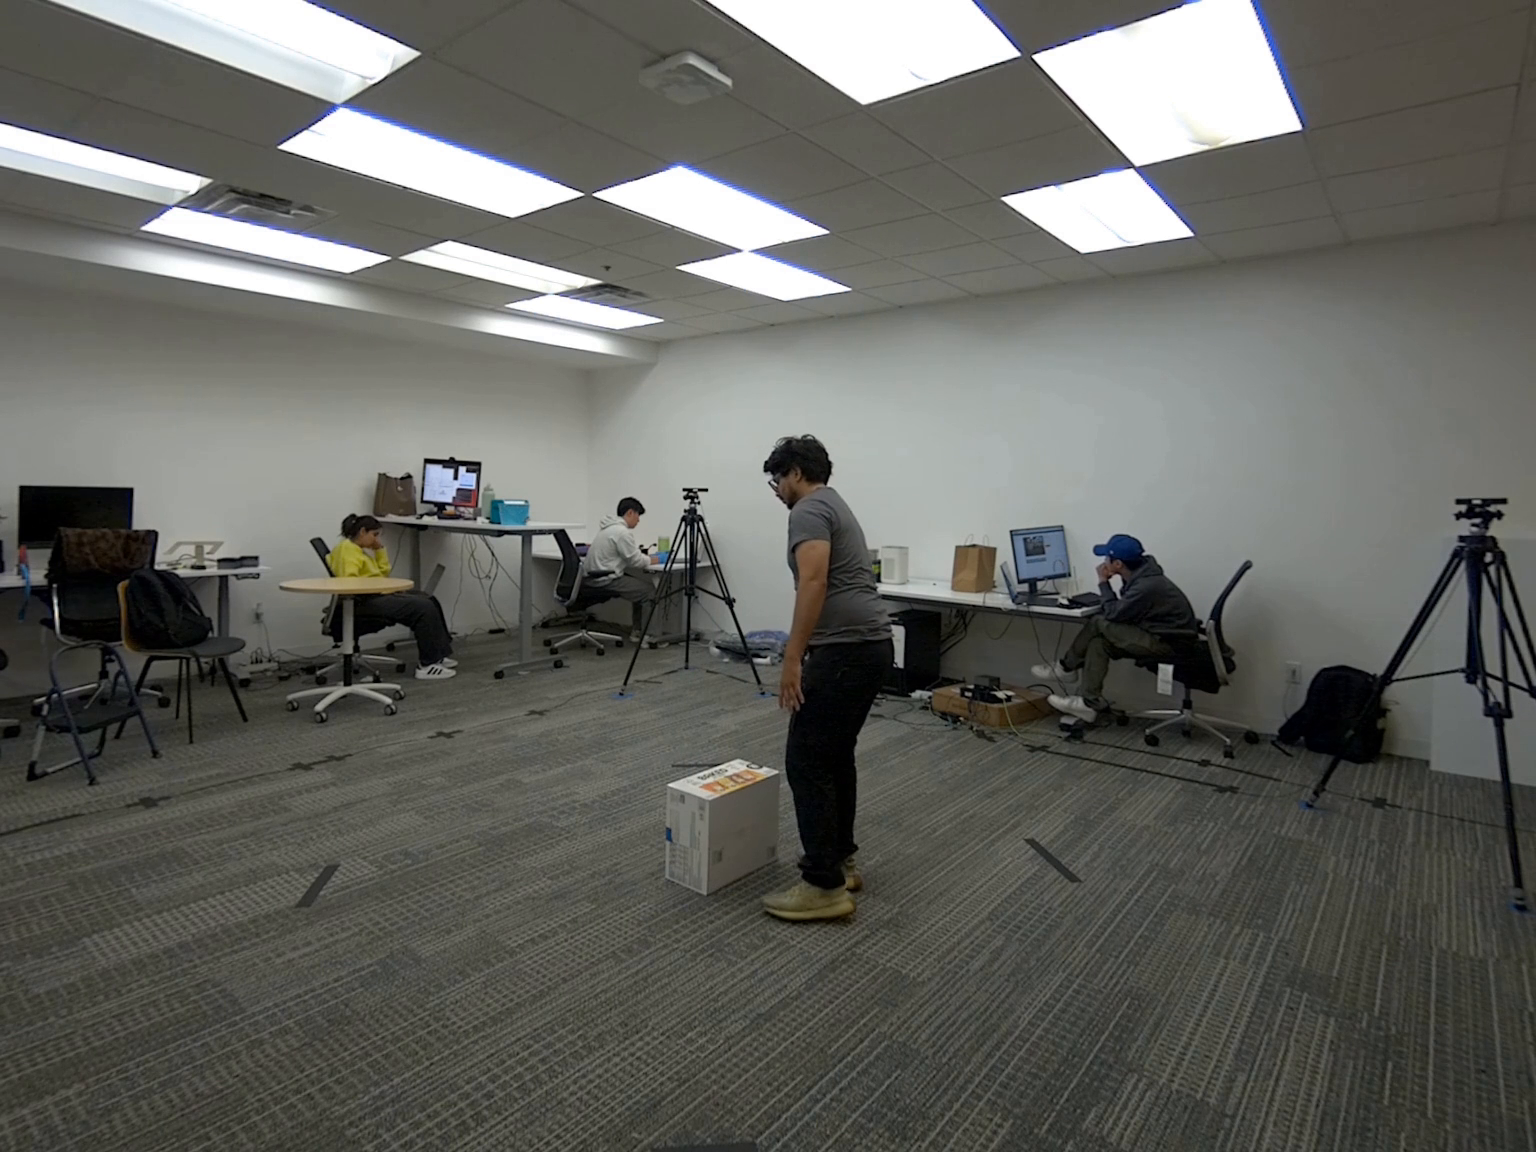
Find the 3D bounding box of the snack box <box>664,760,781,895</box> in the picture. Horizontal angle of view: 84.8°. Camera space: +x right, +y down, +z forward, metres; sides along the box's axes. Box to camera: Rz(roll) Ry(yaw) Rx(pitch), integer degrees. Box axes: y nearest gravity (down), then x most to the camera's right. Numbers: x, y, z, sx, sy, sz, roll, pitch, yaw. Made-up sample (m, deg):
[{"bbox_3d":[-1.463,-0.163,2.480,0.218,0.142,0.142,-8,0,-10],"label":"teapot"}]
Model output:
[{"bbox_3d":[-0.170,0.901,3.105,0.212,0.339,0.393,4,5,39],"label":"snack box"}]
